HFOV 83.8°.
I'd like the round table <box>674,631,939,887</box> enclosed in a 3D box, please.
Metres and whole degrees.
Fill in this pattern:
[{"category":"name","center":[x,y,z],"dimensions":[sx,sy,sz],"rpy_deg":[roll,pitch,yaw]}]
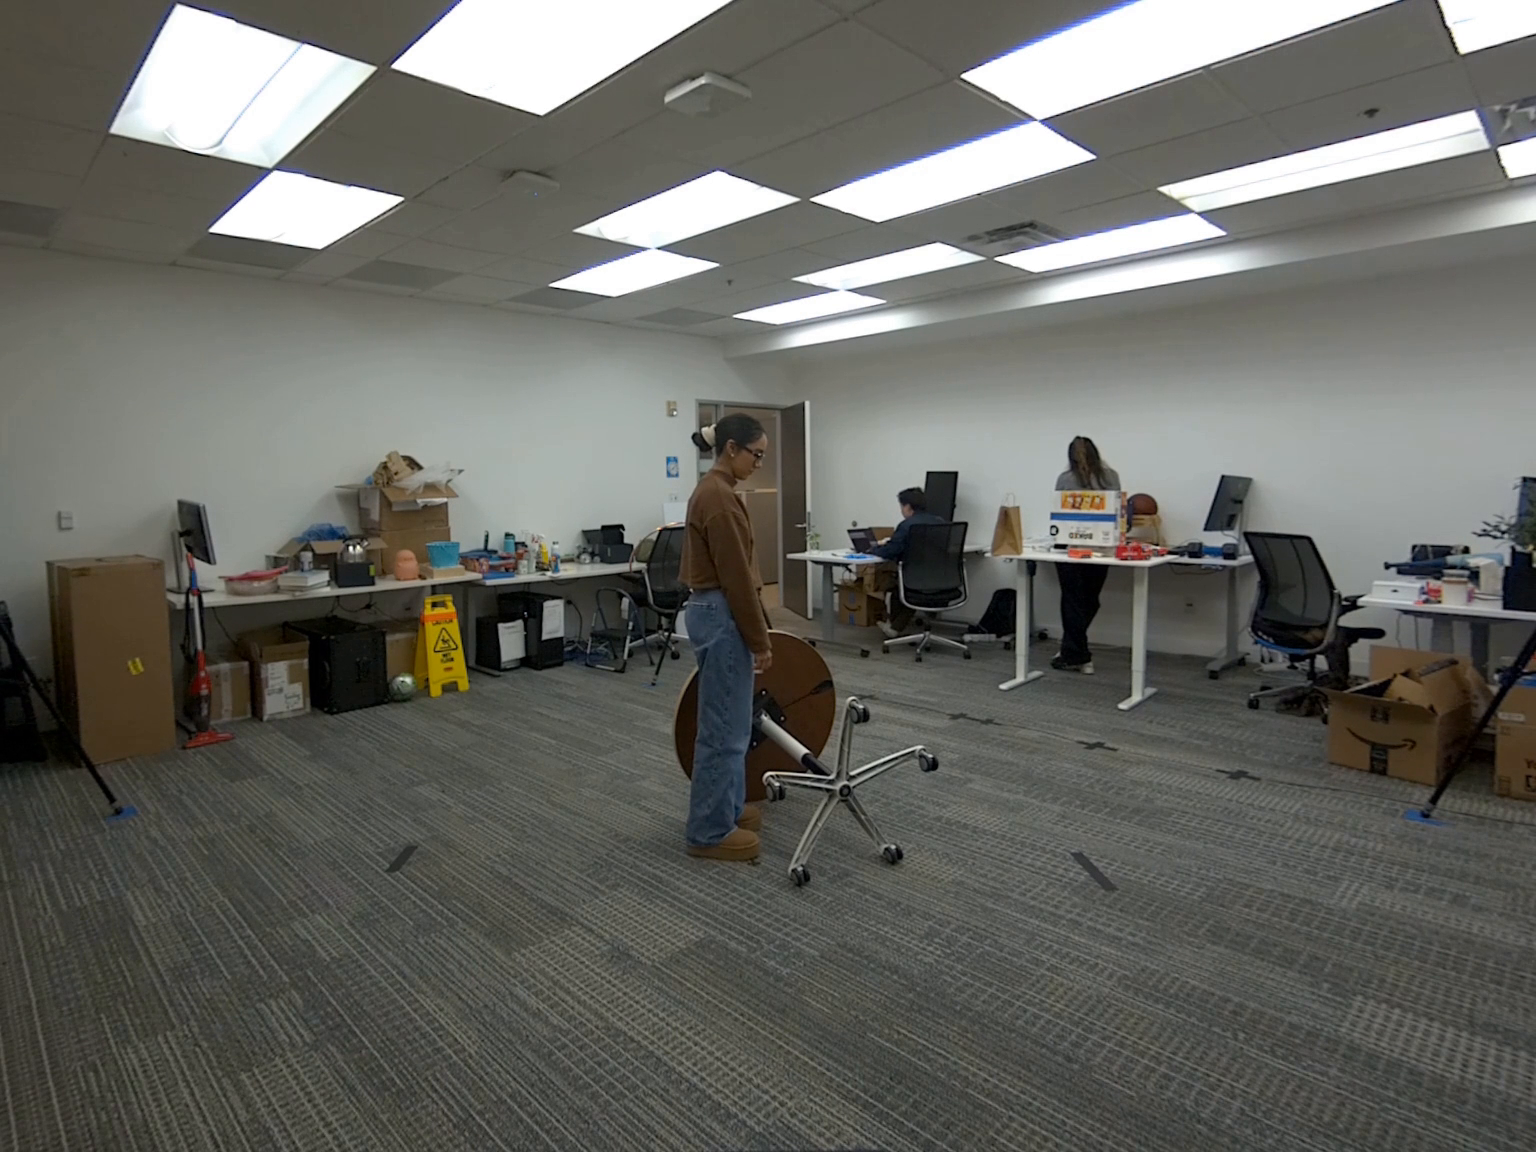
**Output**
[{"category":"round table","center":[0.132,0.686,3.299],"dimensions":[0.748,0.757,0.819],"rpy_deg":[-3,13,-26]}]
